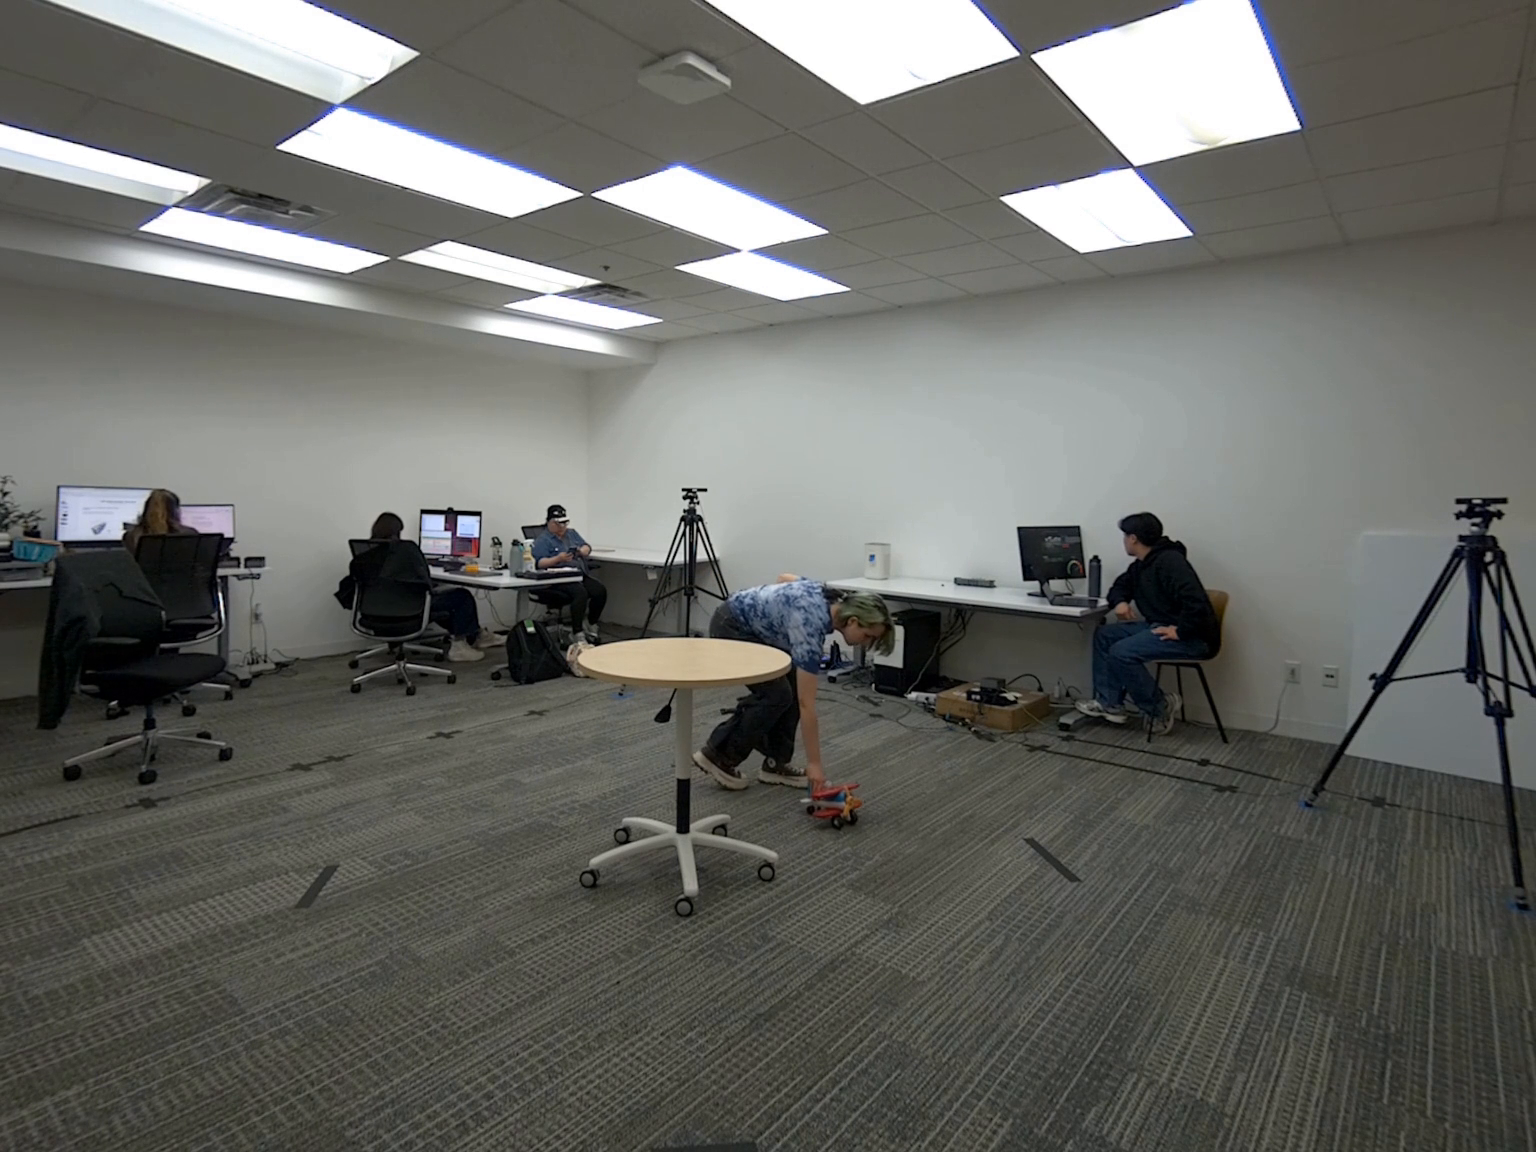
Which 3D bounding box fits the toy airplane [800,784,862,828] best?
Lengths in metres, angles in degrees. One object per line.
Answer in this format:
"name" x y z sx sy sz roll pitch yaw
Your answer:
"toy airplane" 0.246 0.955 3.598 0.265 0.156 0.246 5 5 21
